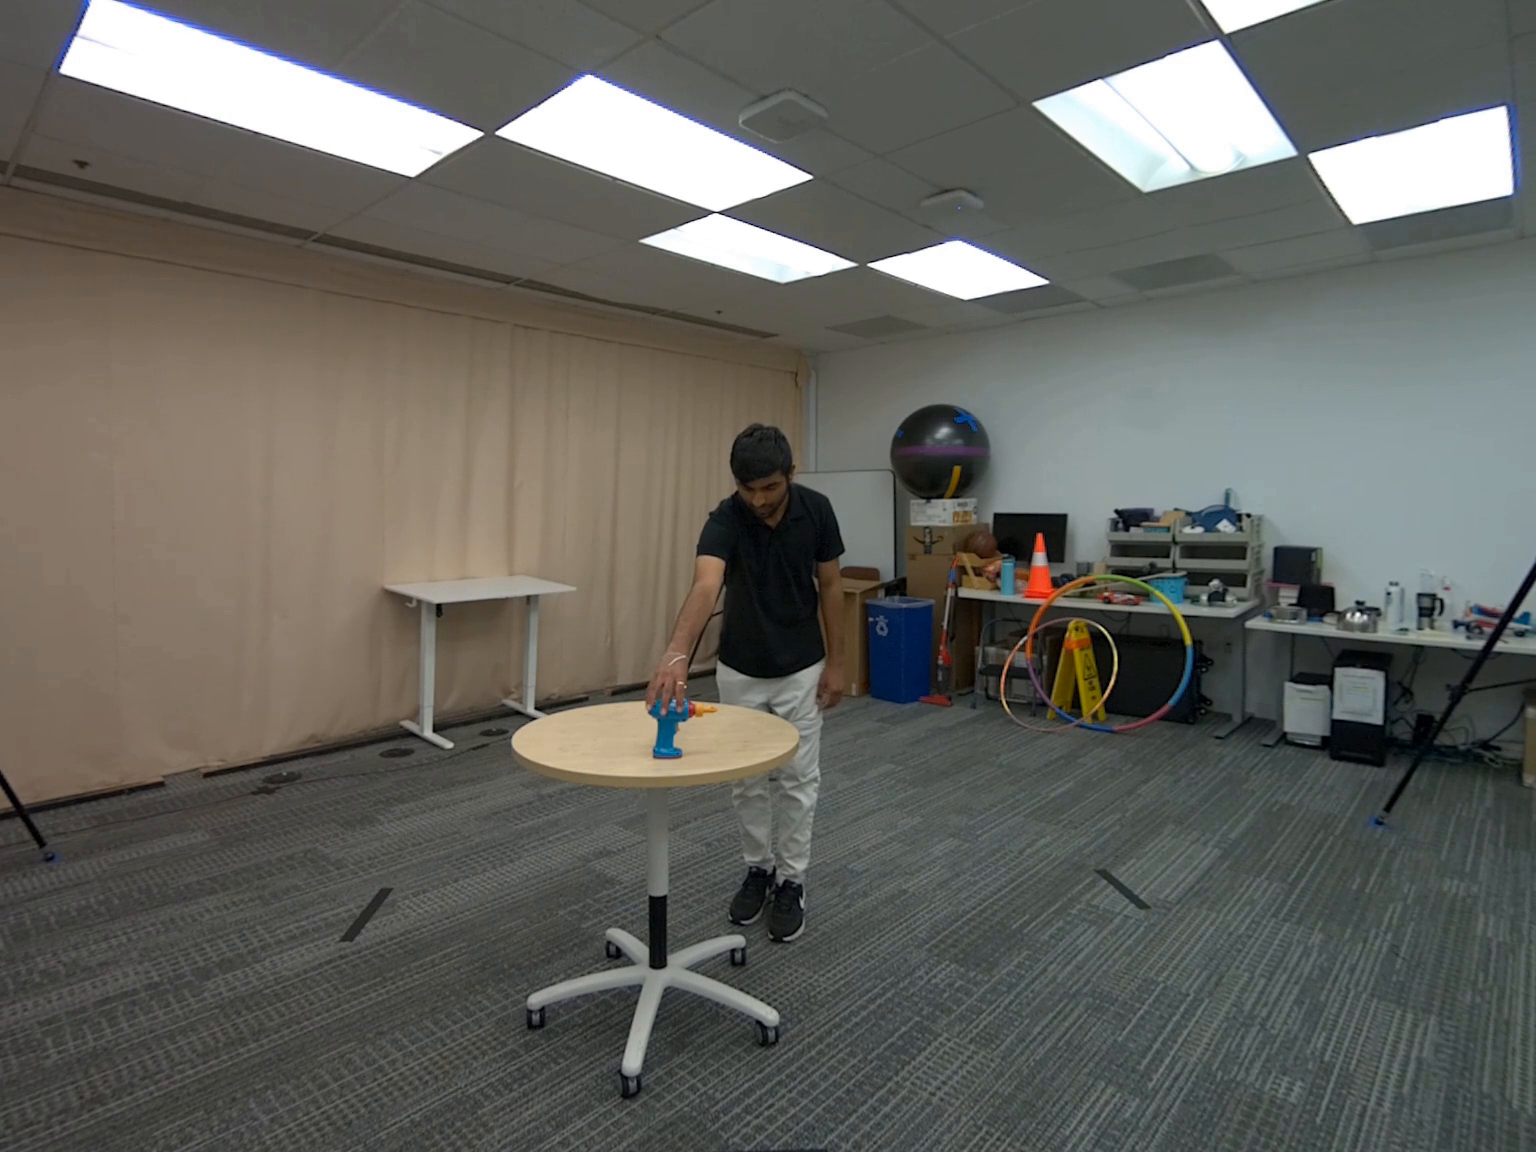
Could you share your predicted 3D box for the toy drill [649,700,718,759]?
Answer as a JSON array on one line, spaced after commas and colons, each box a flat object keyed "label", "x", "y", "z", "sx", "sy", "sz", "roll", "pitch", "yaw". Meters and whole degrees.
[{"label": "toy drill", "x": -0.202, "y": 0.367, "z": 2.045, "sx": 0.169, "sy": 0.146, "sz": 0.061, "roll": 0, "pitch": 4, "yaw": -5}]
